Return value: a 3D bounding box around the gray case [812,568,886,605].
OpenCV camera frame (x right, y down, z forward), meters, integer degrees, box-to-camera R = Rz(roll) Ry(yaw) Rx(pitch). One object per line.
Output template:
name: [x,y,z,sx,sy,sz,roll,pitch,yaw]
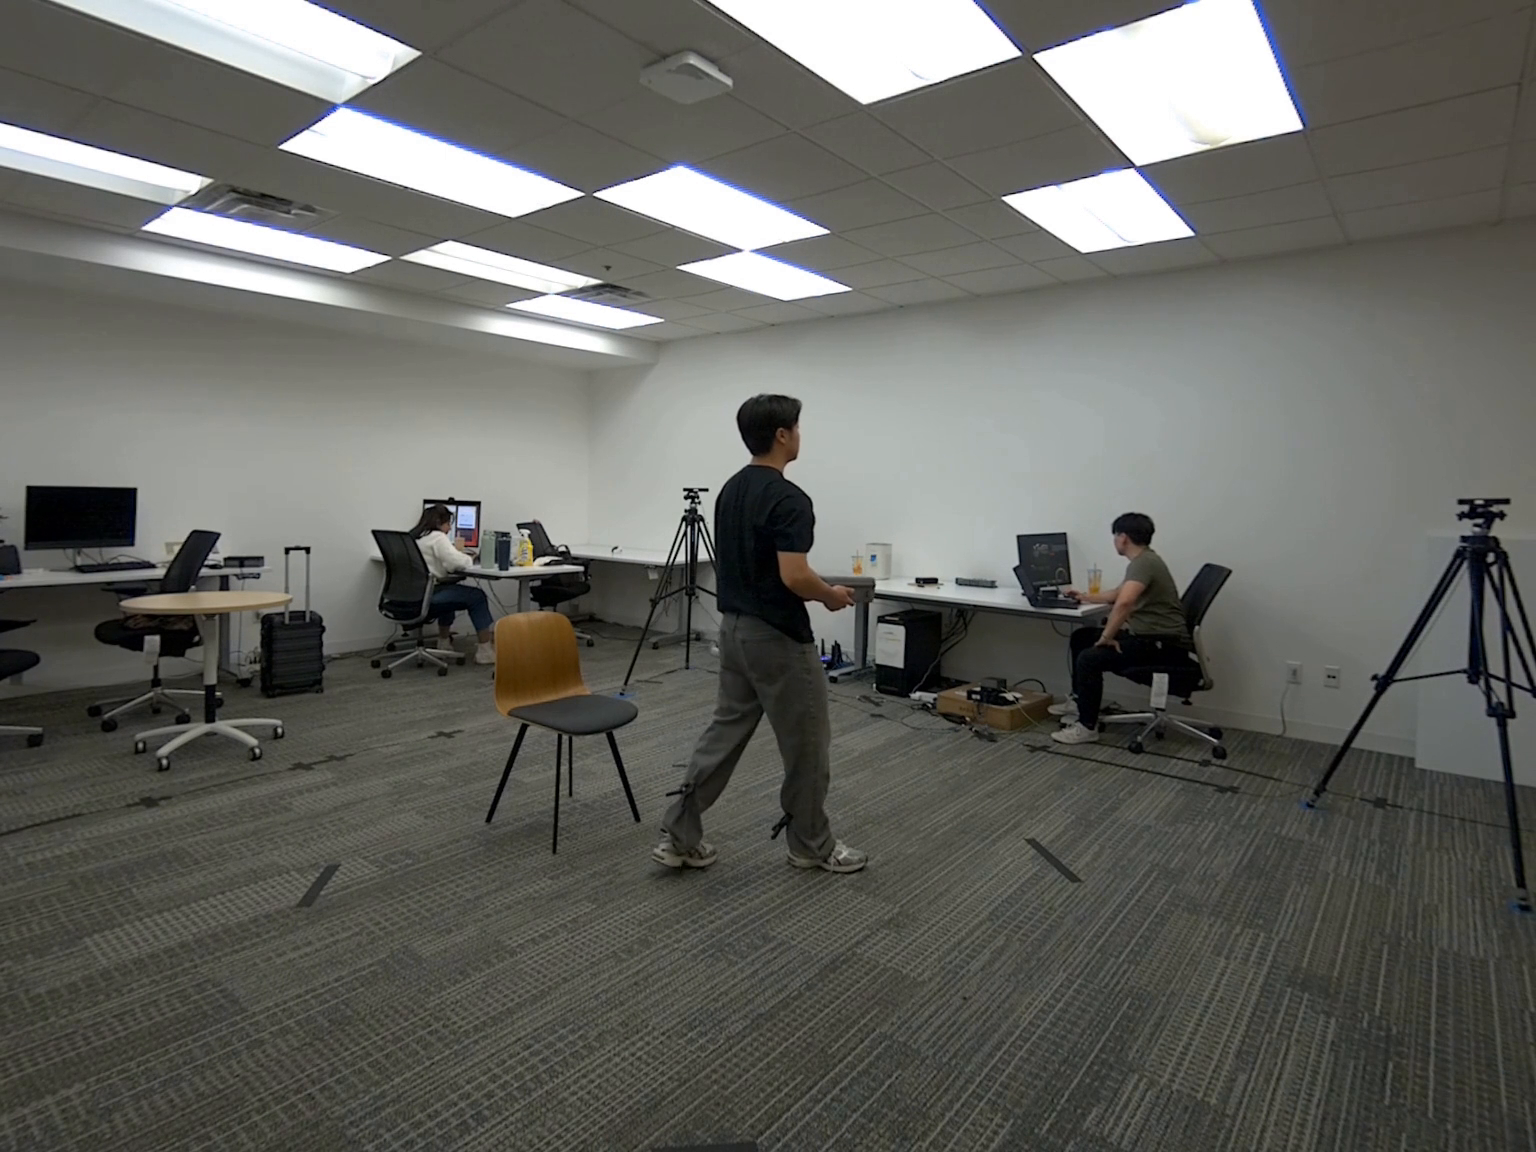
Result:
gray case: [0.250,0.035,3.231,0.279,0.102,0.271,0,6,-29]
